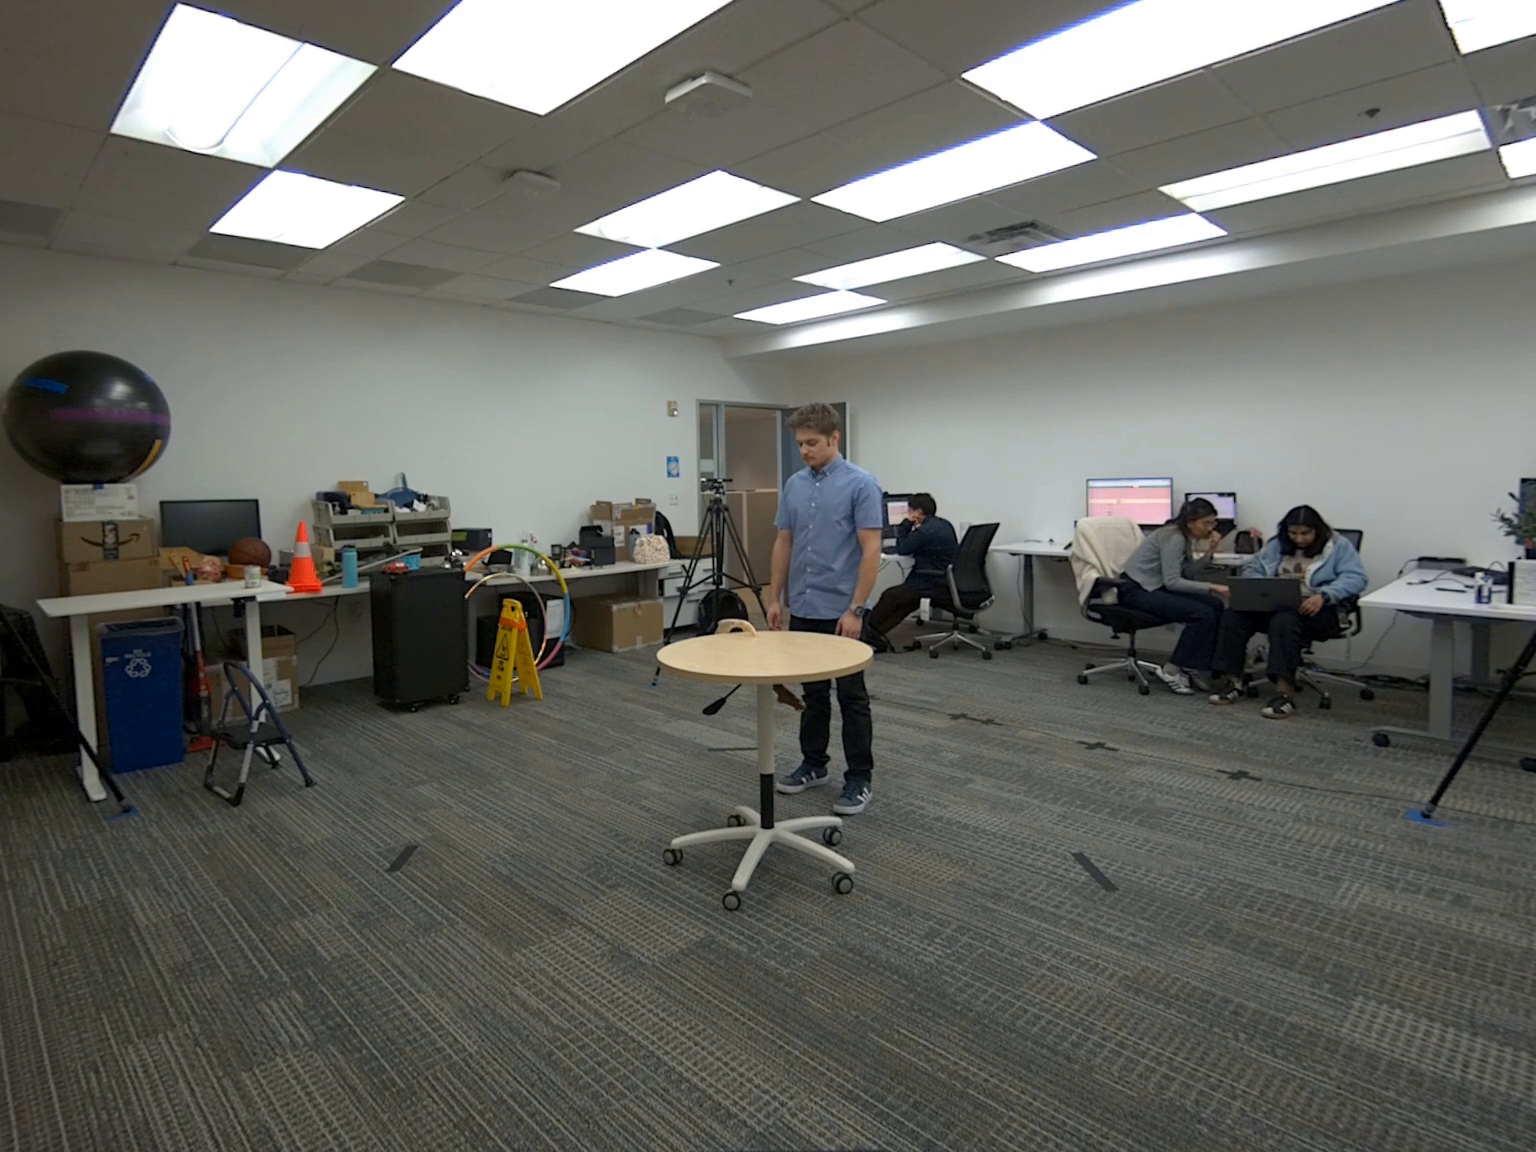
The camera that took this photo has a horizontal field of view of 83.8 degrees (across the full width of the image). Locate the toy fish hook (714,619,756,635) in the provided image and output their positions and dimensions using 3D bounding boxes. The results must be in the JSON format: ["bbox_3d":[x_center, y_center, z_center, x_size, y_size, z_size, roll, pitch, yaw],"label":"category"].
[{"bbox_3d":[-0.028,0.336,3.307,0.526,0.222,0.047,30,25,36],"label":"toy fish hook"}]
